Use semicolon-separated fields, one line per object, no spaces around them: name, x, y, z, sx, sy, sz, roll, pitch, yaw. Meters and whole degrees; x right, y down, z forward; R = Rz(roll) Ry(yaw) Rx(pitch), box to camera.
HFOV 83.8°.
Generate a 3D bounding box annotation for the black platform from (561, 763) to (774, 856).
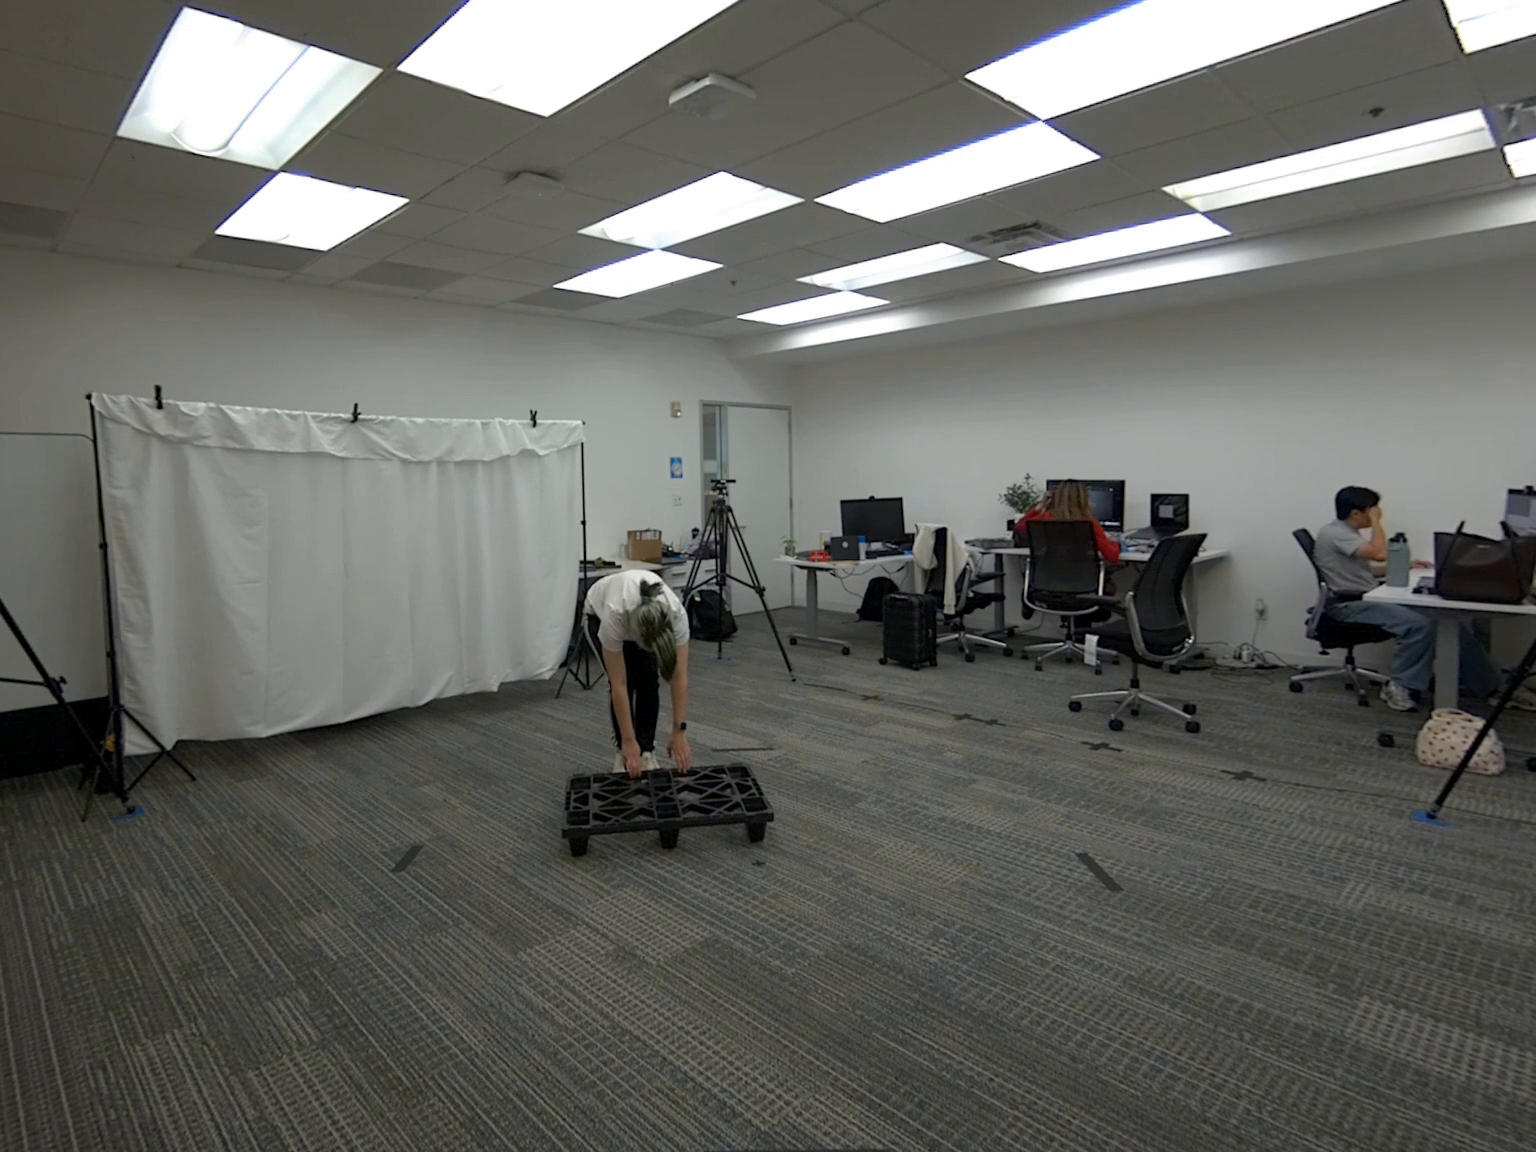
black platform;-0.419;0.945;3.473;0.799;0.143;0.612;-2;5;-9
